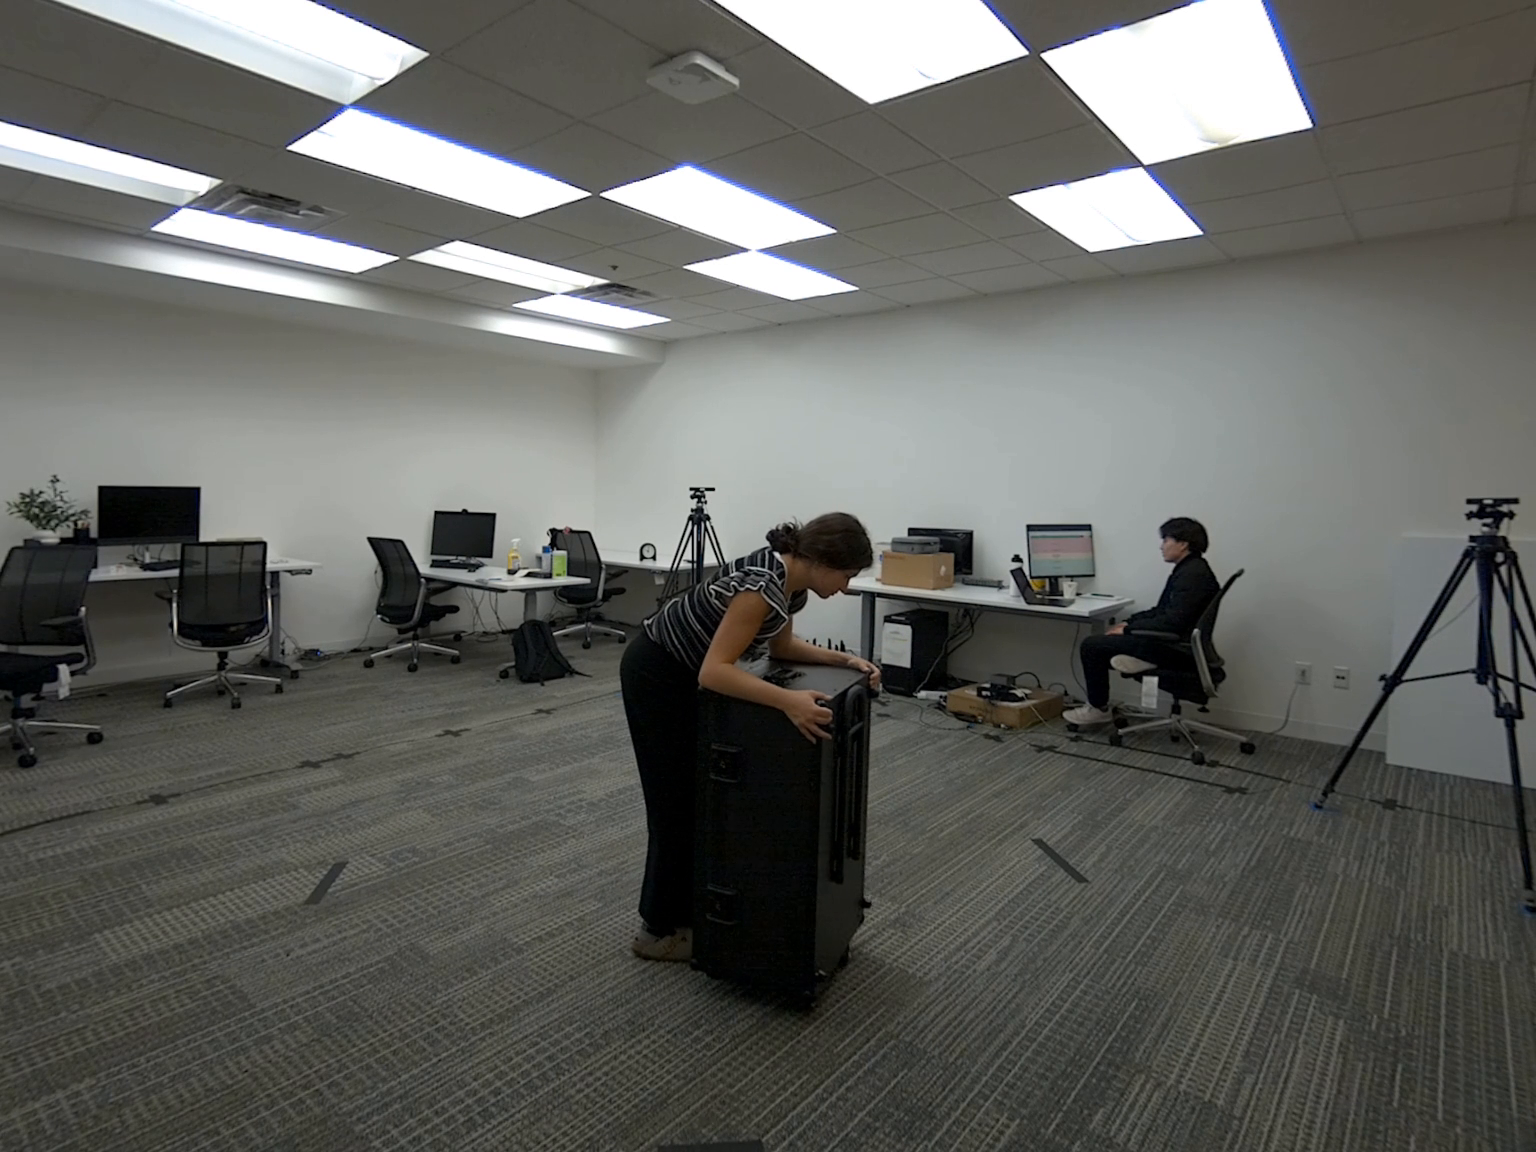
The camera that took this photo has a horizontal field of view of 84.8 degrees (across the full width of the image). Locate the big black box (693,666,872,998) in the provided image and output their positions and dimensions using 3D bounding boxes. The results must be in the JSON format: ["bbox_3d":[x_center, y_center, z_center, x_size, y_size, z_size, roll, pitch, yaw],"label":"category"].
[{"bbox_3d":[0.057,0.719,2.454,0.406,0.859,0.510,3,4,23],"label":"big black box"}]
